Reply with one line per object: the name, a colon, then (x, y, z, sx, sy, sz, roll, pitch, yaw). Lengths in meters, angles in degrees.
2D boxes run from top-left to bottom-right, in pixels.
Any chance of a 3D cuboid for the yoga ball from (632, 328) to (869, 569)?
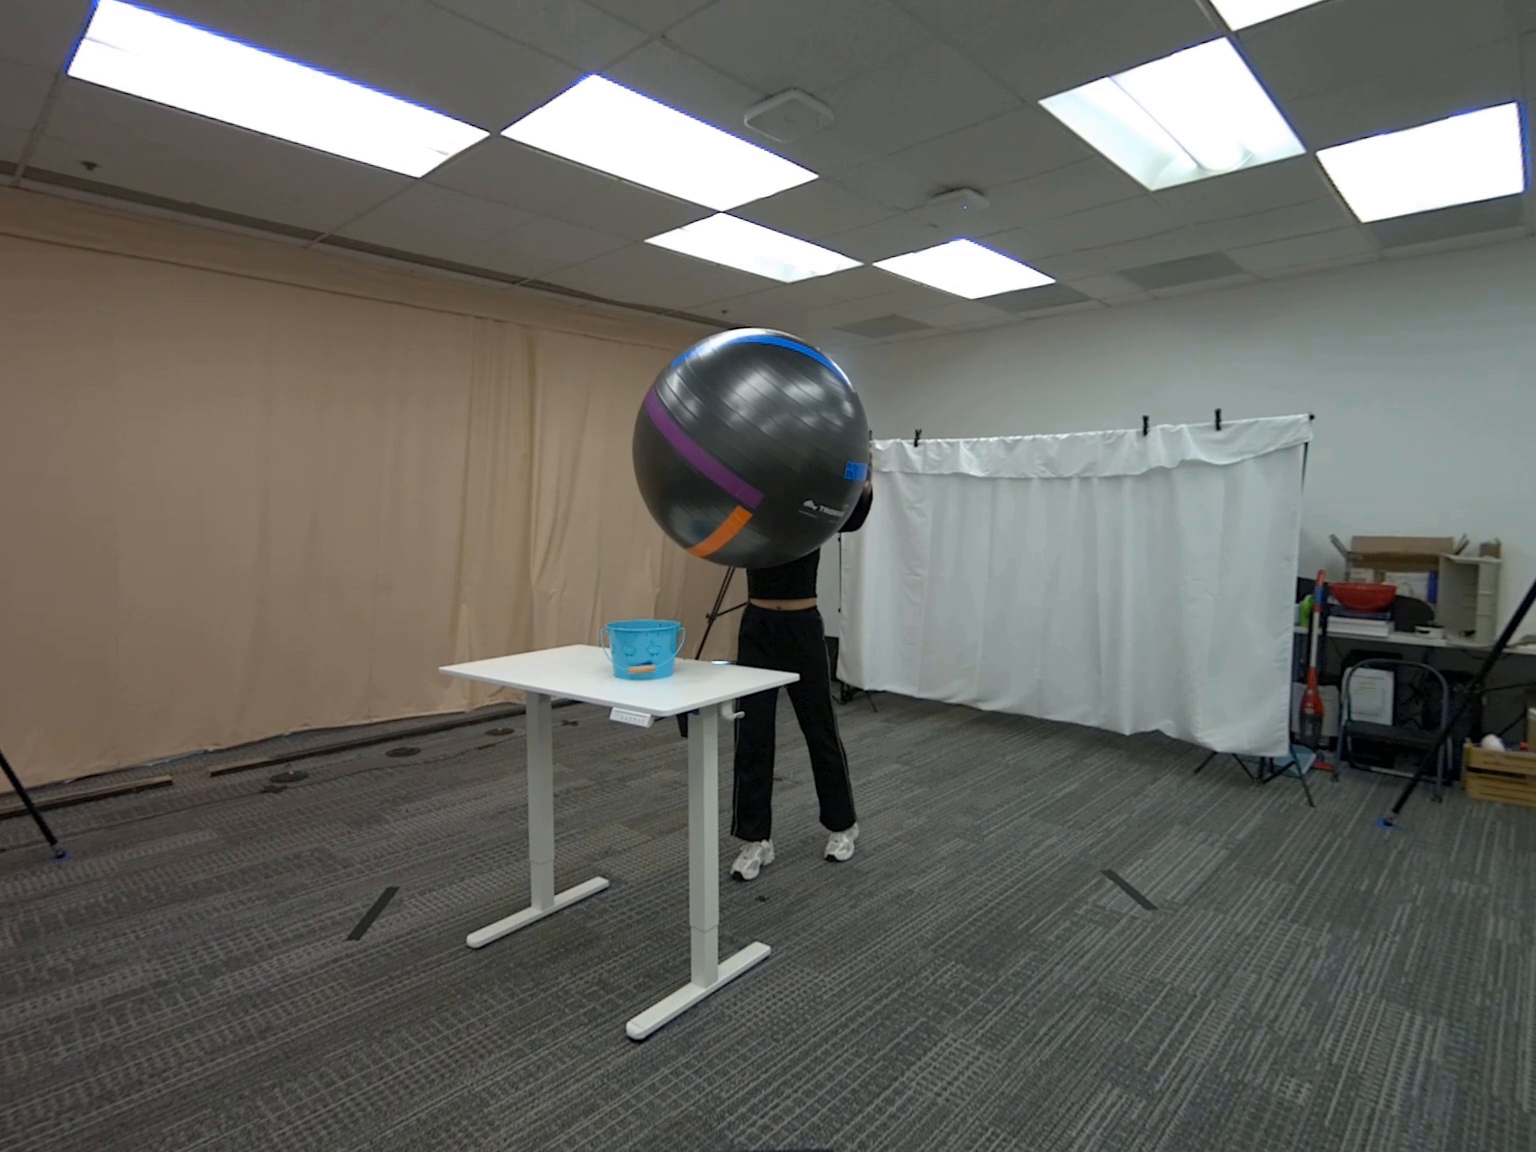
yoga ball: (-0.054, -0.393, 2.691, 0.757, 0.756, 0.761, 0, 4, -2)
